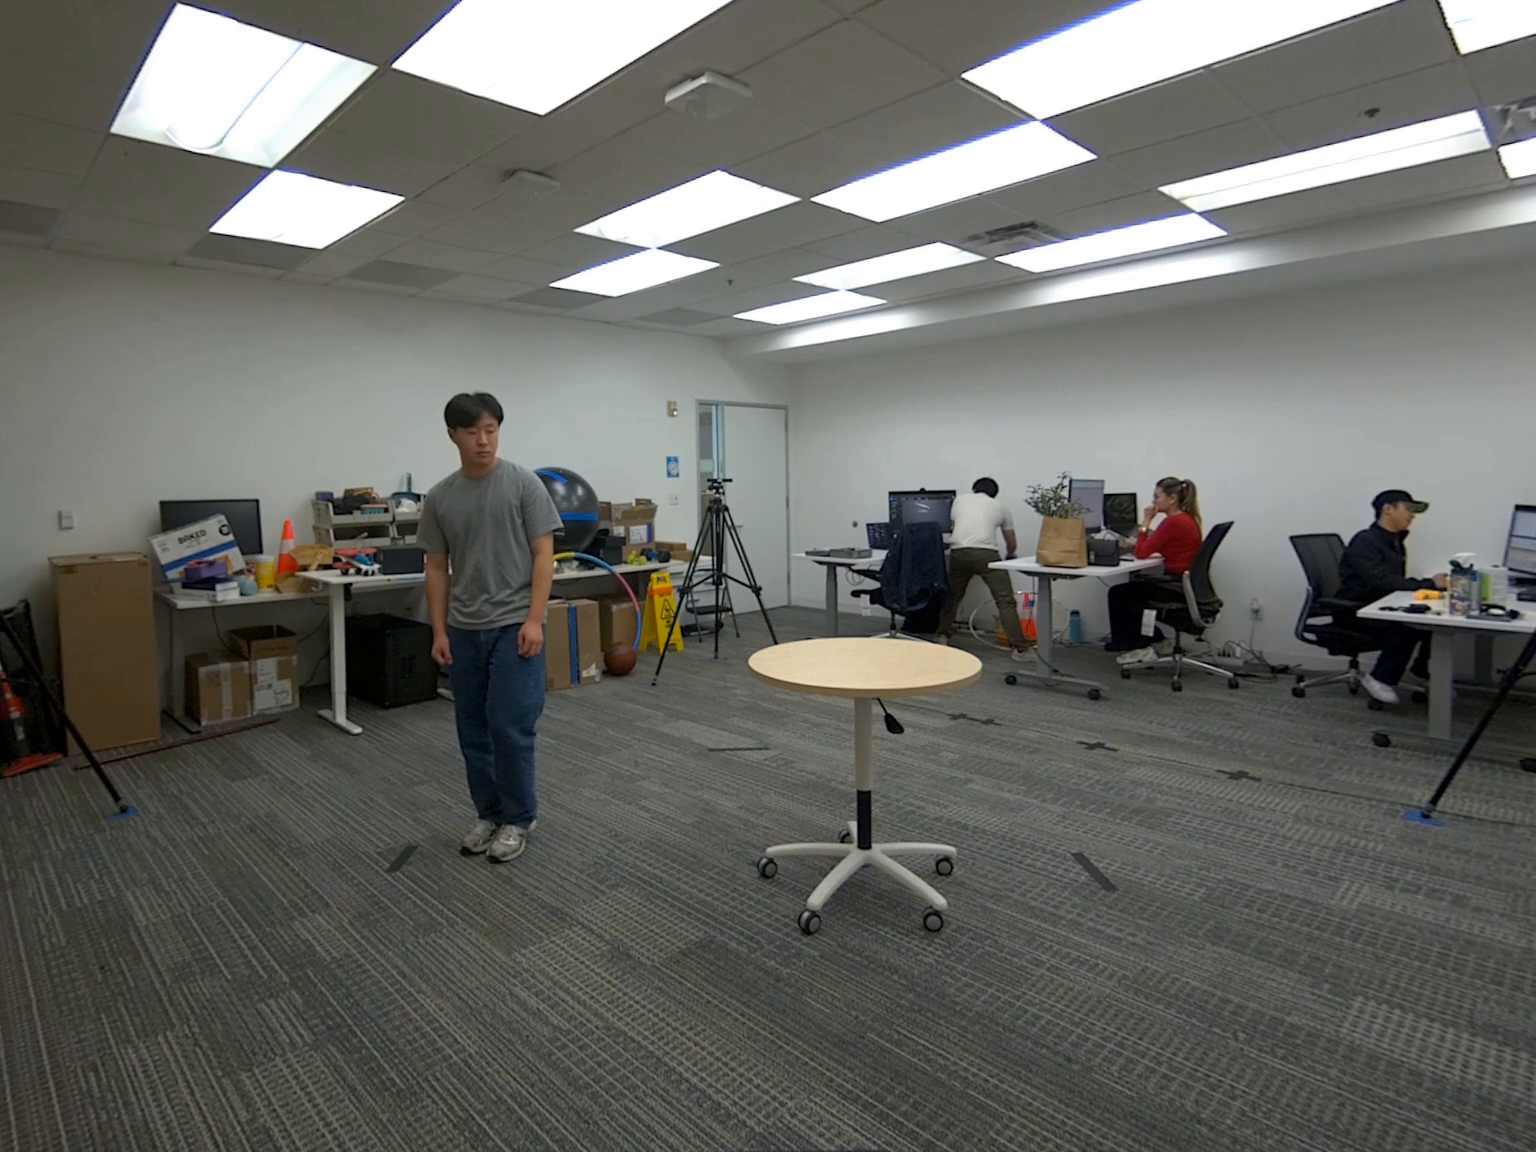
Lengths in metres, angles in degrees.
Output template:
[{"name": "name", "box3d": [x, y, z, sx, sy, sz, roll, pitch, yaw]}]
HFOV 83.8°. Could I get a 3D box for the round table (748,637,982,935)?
[{"name": "round table", "box3d": [0.328, 0.674, 2.880, 0.763, 0.790, 0.768, -1, 6, -2]}]
